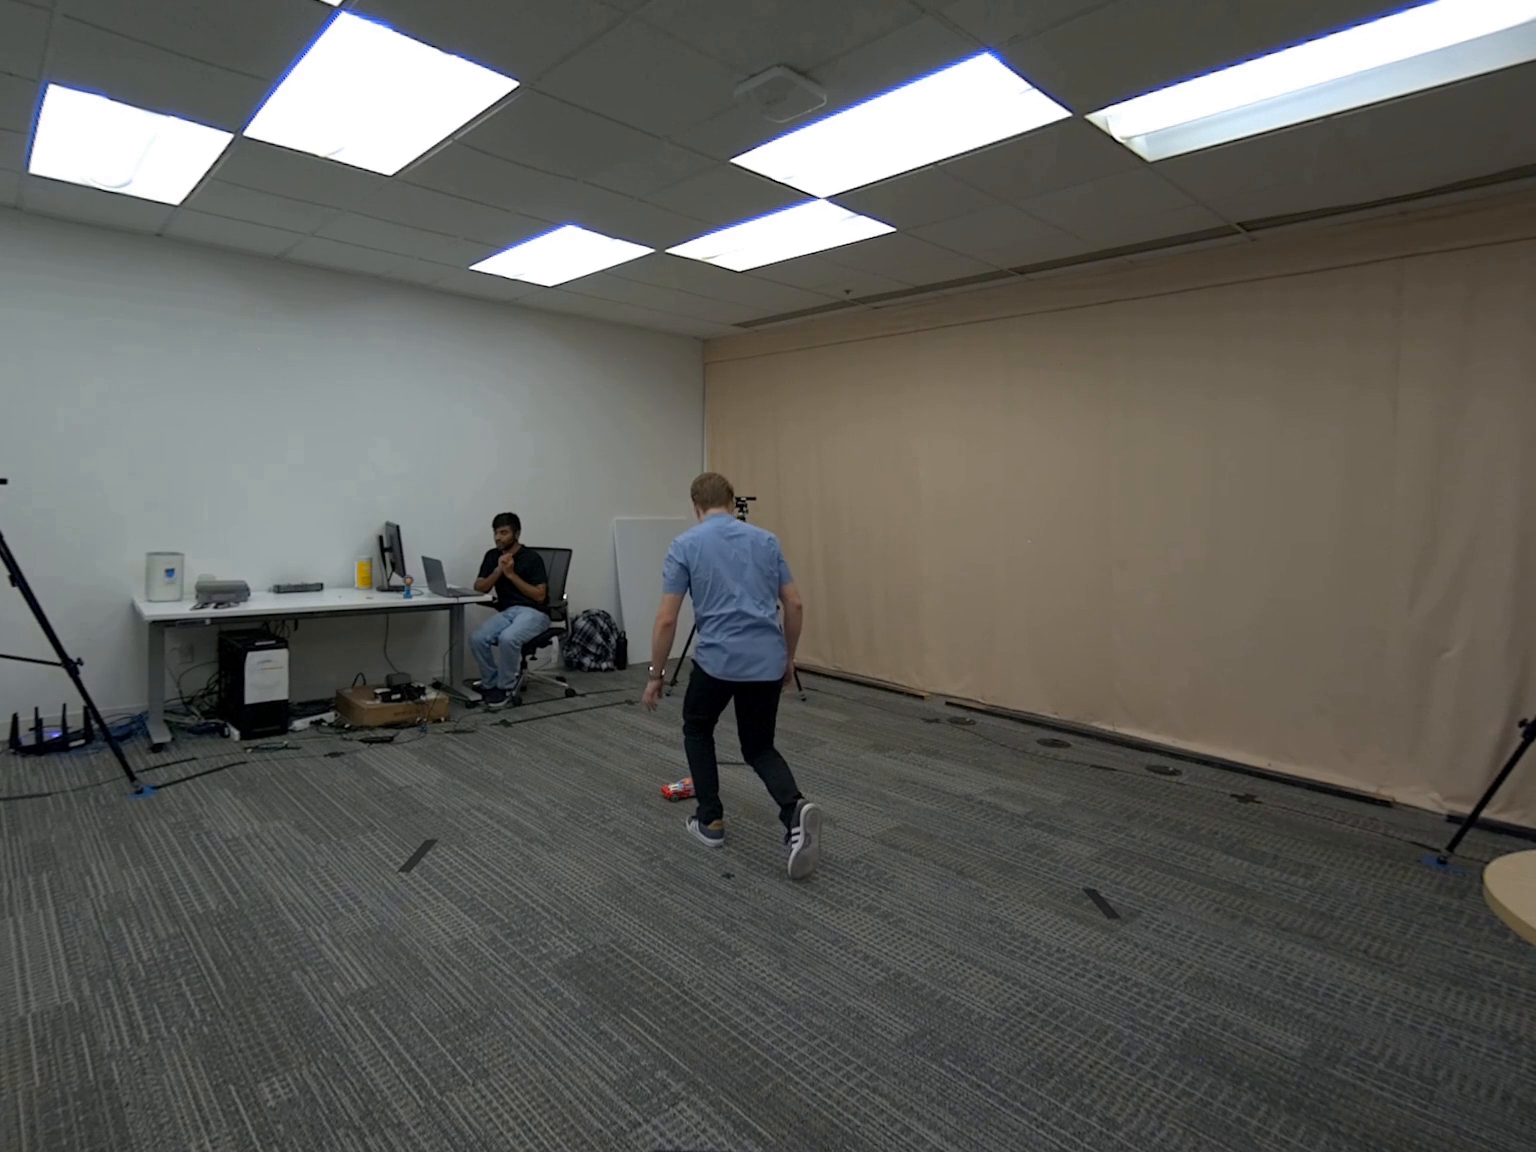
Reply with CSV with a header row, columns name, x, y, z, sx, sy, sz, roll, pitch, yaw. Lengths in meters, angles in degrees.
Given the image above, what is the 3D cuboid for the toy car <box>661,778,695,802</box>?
name,x,y,z,sx,sy,sz,roll,pitch,yaw
toy car,-0.382,0.998,3.943,0.251,0.083,0.133,-12,9,-26
